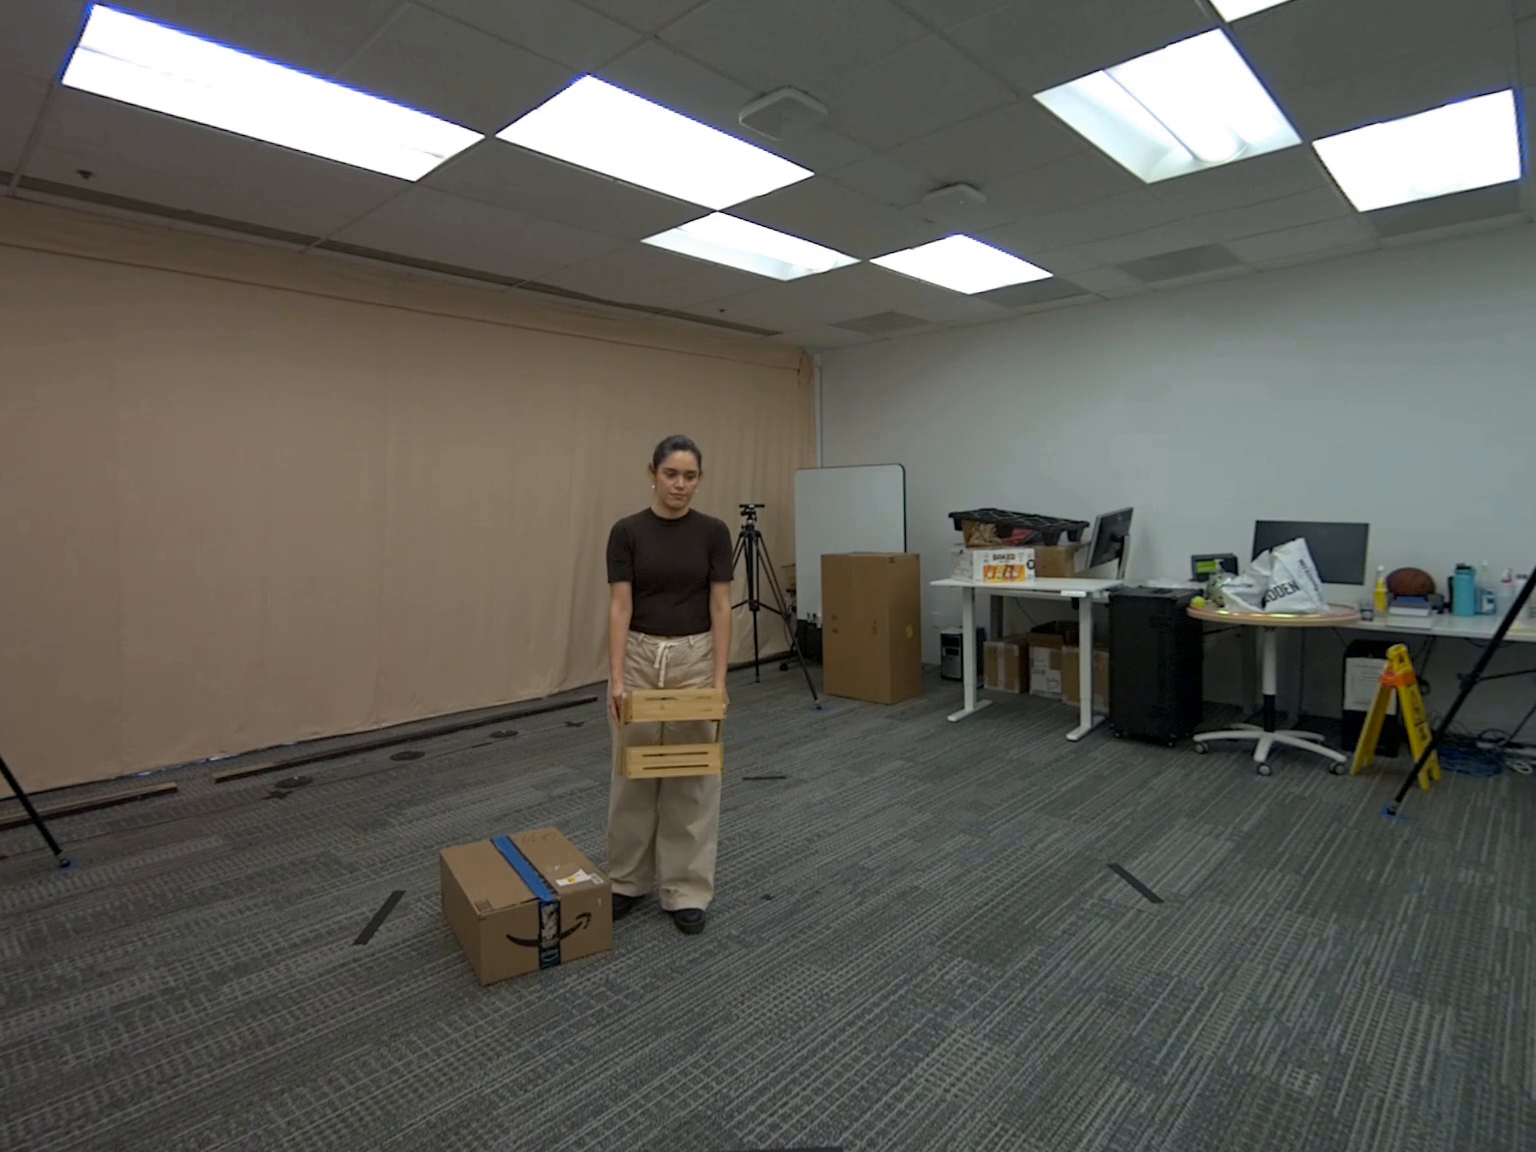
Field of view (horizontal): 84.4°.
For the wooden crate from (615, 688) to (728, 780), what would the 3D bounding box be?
[{"bbox_3d":[-0.319,0.494,2.689,0.319,0.275,0.304,1,-11,-15],"label":"wooden crate"}]
